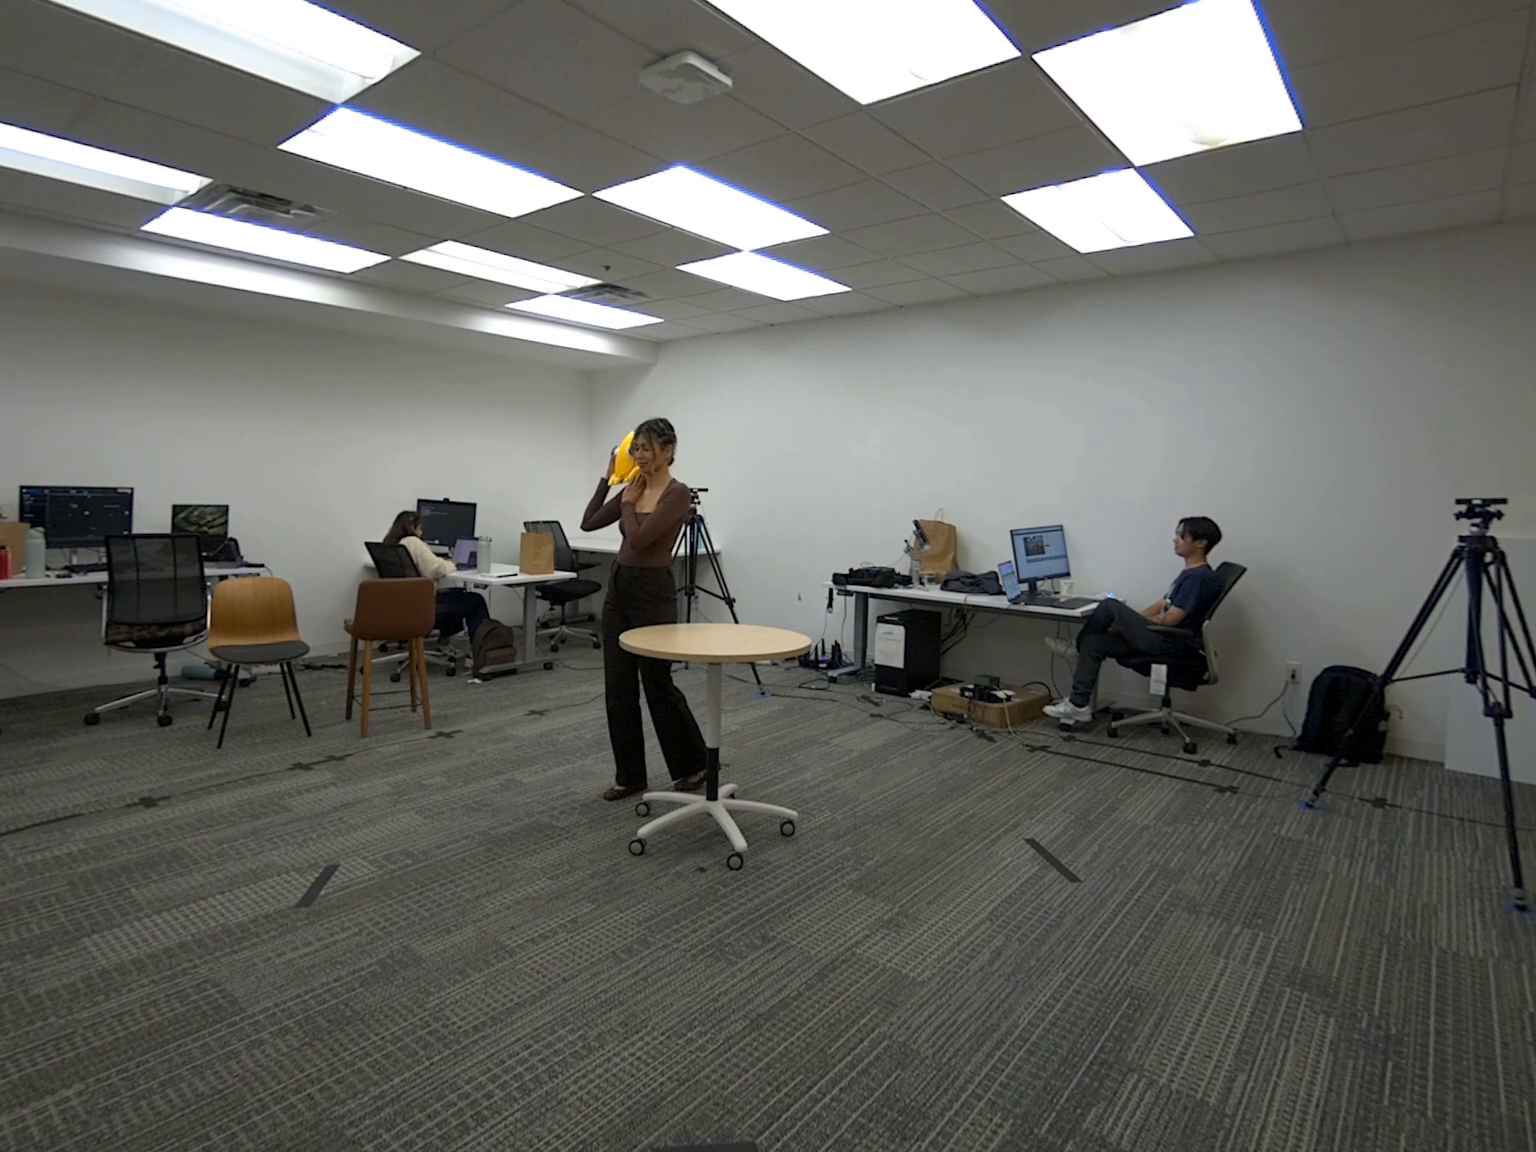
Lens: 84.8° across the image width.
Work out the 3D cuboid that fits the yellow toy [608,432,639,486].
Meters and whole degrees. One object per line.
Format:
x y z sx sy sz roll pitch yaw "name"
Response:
-0.662 -0.559 3.950 0.210 0.230 0.188 -7 6 40 "yellow toy"
